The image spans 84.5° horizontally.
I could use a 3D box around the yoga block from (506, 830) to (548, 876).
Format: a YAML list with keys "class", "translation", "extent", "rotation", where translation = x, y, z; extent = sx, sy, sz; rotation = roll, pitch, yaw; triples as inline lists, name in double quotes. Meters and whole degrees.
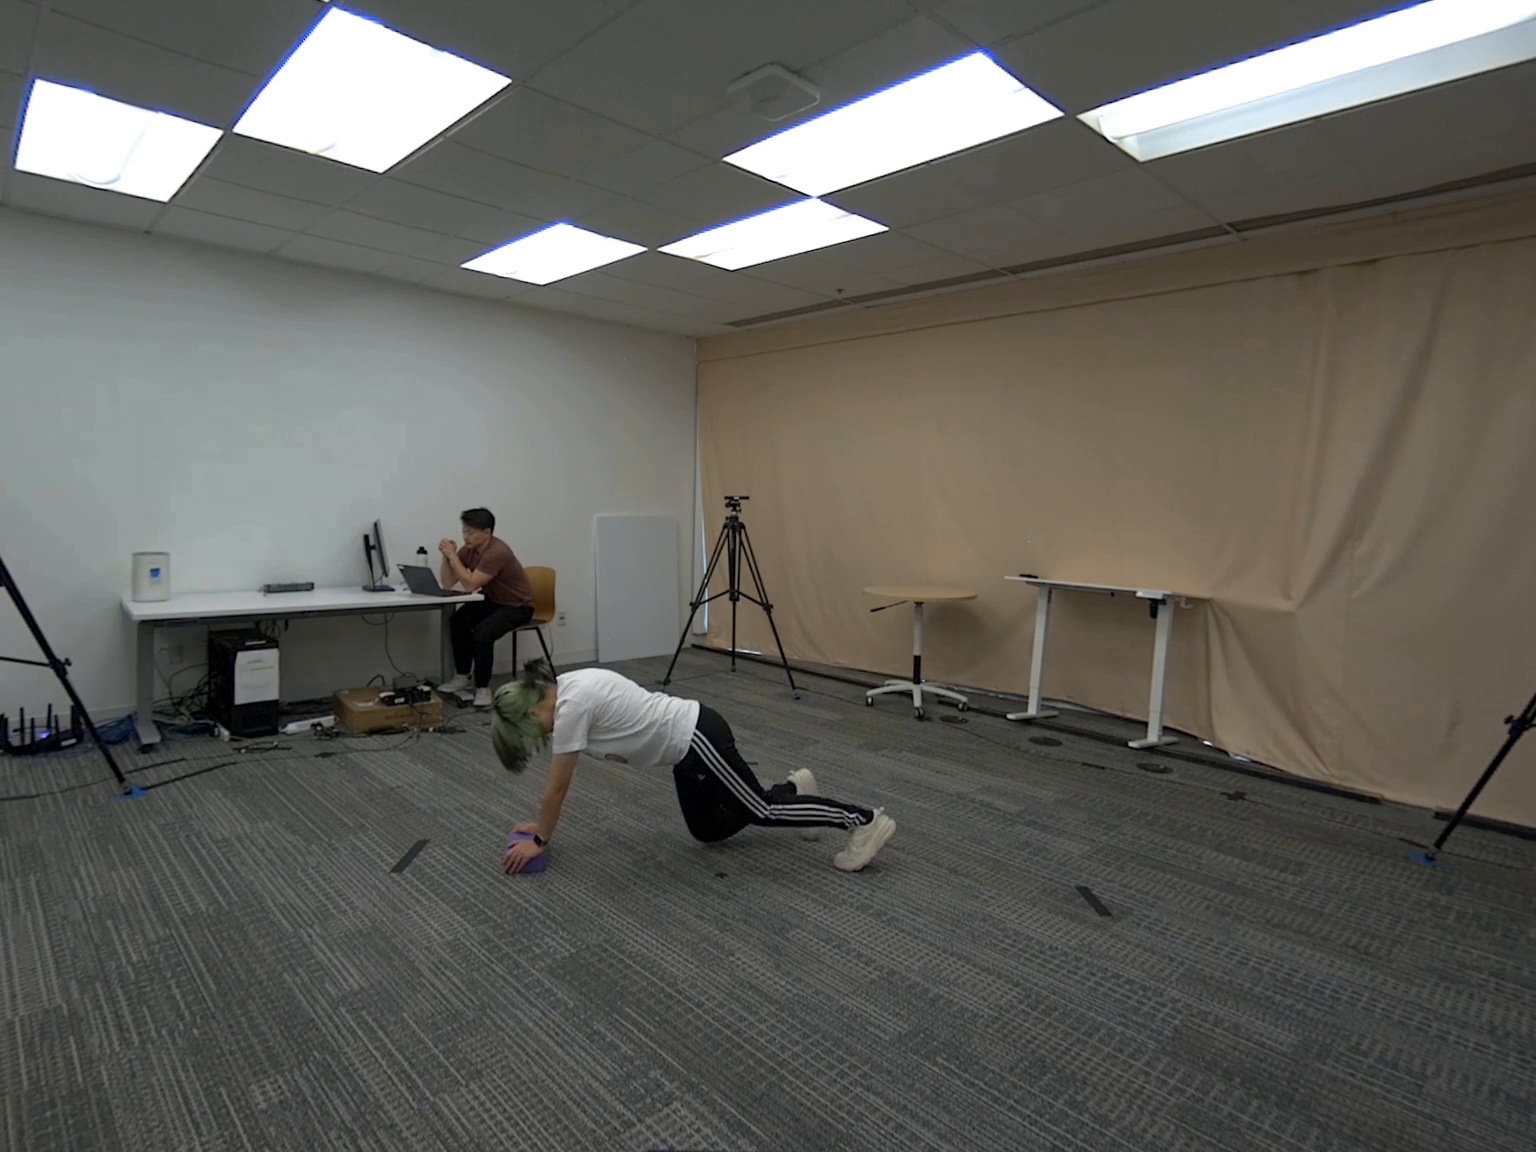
- class: "yoga block"
  translation: [-0.915, 1.040, 3.196]
  extent: [0.148, 0.076, 0.232]
  rotation: [0, 6, -10]
